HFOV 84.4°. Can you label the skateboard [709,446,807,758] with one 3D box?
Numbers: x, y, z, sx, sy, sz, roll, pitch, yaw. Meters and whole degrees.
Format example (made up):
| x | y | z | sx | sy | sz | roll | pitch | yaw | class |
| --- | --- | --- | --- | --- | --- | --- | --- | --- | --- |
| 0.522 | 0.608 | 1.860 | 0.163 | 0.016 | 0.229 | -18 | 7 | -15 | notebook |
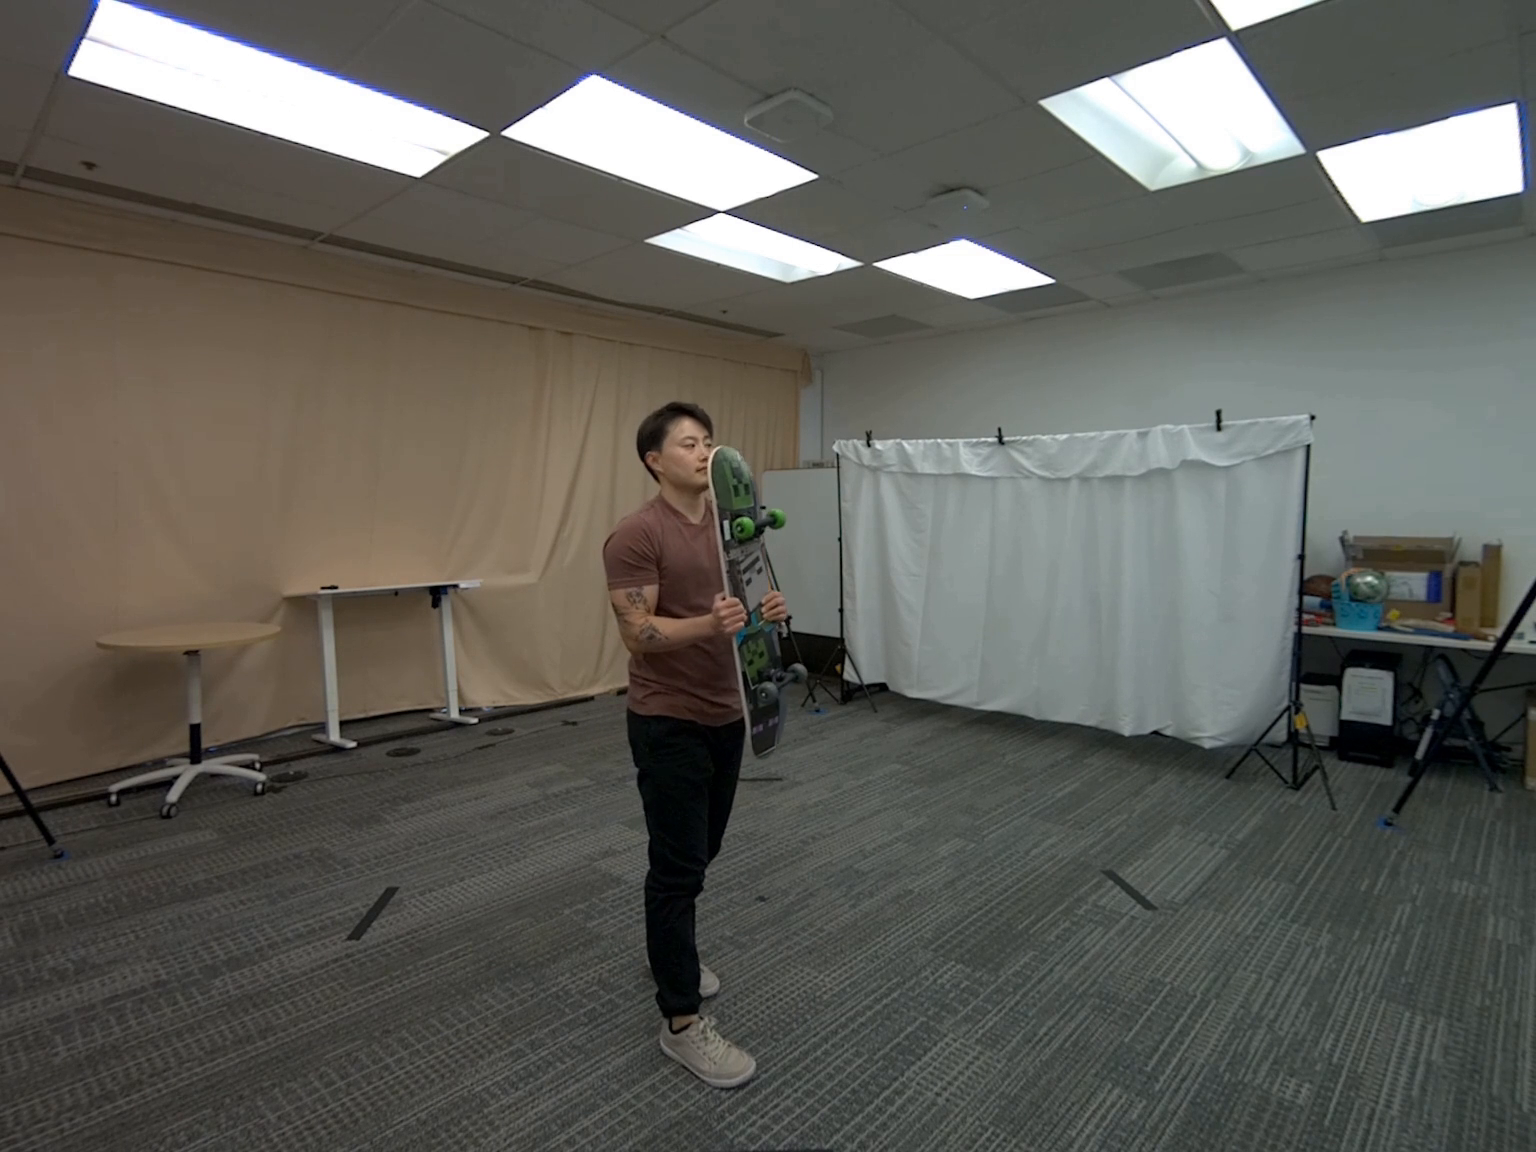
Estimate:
| x | y | z | sx | sy | sz | roll | pitch | yaw | class |
| --- | --- | --- | --- | --- | --- | --- | --- | --- | --- |
| -0.016 | 0.072 | 2.066 | 0.113 | 0.782 | 0.189 | -3 | 7 | 33 | skateboard |
